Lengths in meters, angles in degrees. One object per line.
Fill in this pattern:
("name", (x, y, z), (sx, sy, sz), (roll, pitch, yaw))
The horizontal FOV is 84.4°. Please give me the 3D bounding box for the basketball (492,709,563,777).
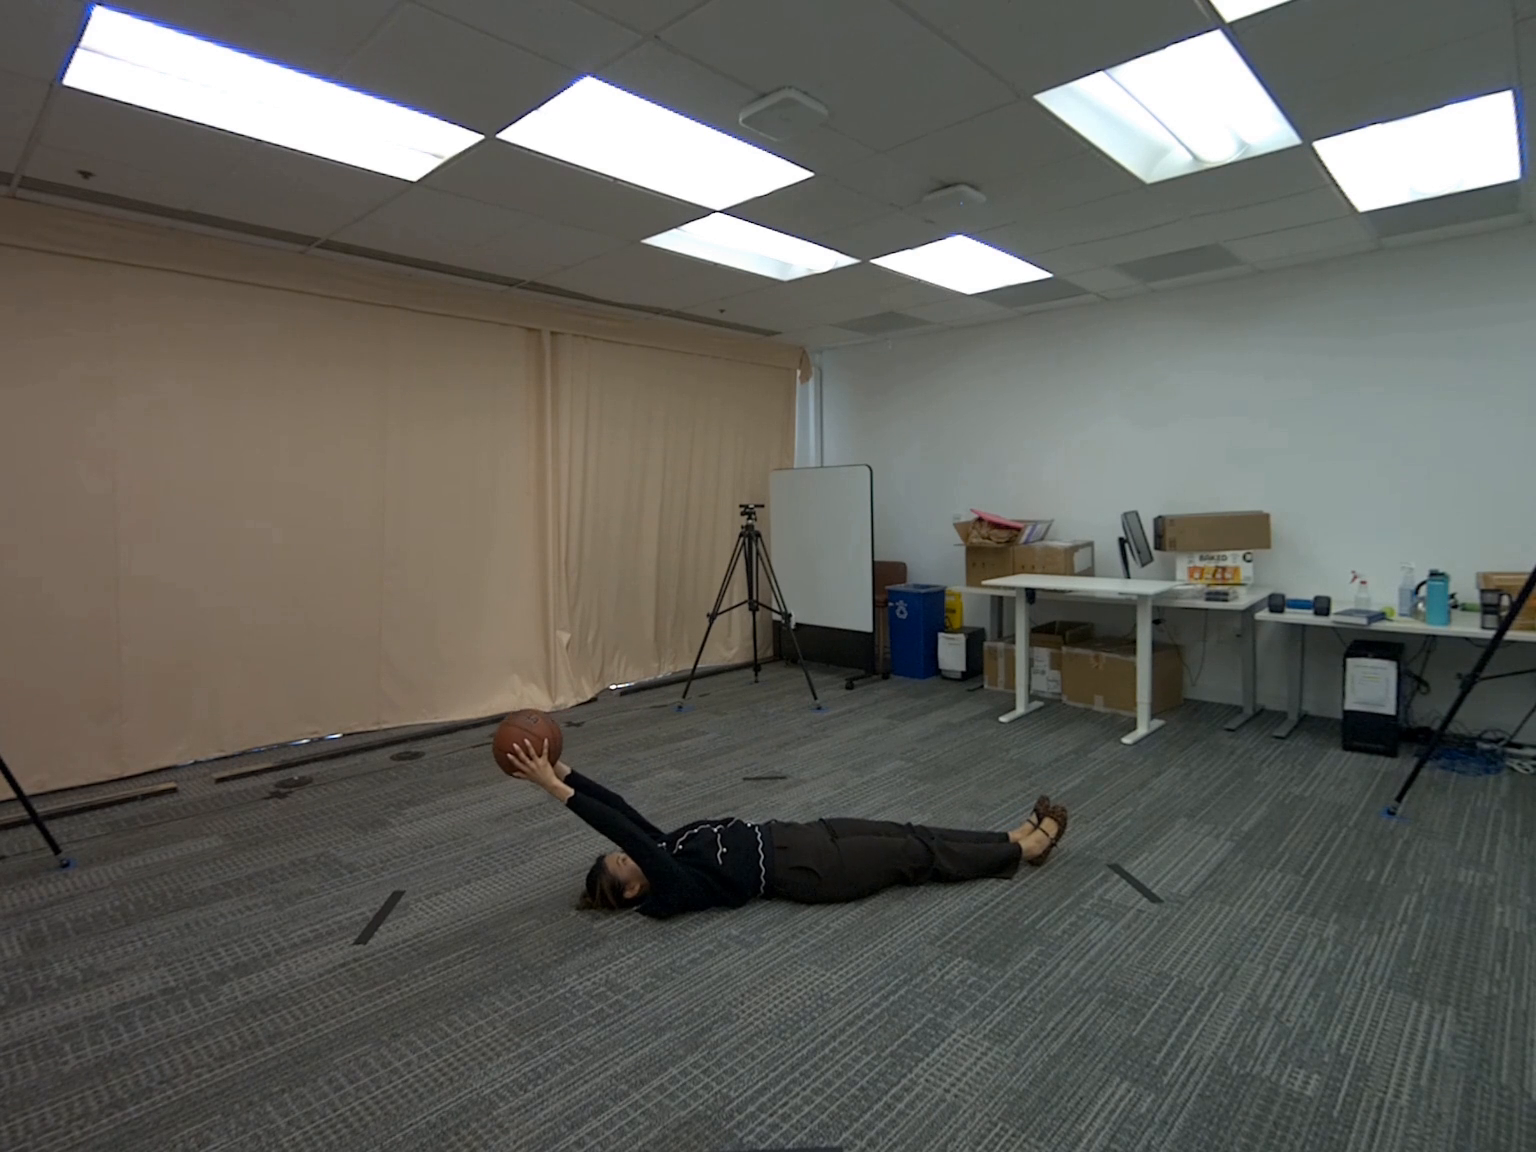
("basketball", (-0.816, 0.574, 2.868), (0.236, 0.235, 0.237), (-1, 4, -2))
